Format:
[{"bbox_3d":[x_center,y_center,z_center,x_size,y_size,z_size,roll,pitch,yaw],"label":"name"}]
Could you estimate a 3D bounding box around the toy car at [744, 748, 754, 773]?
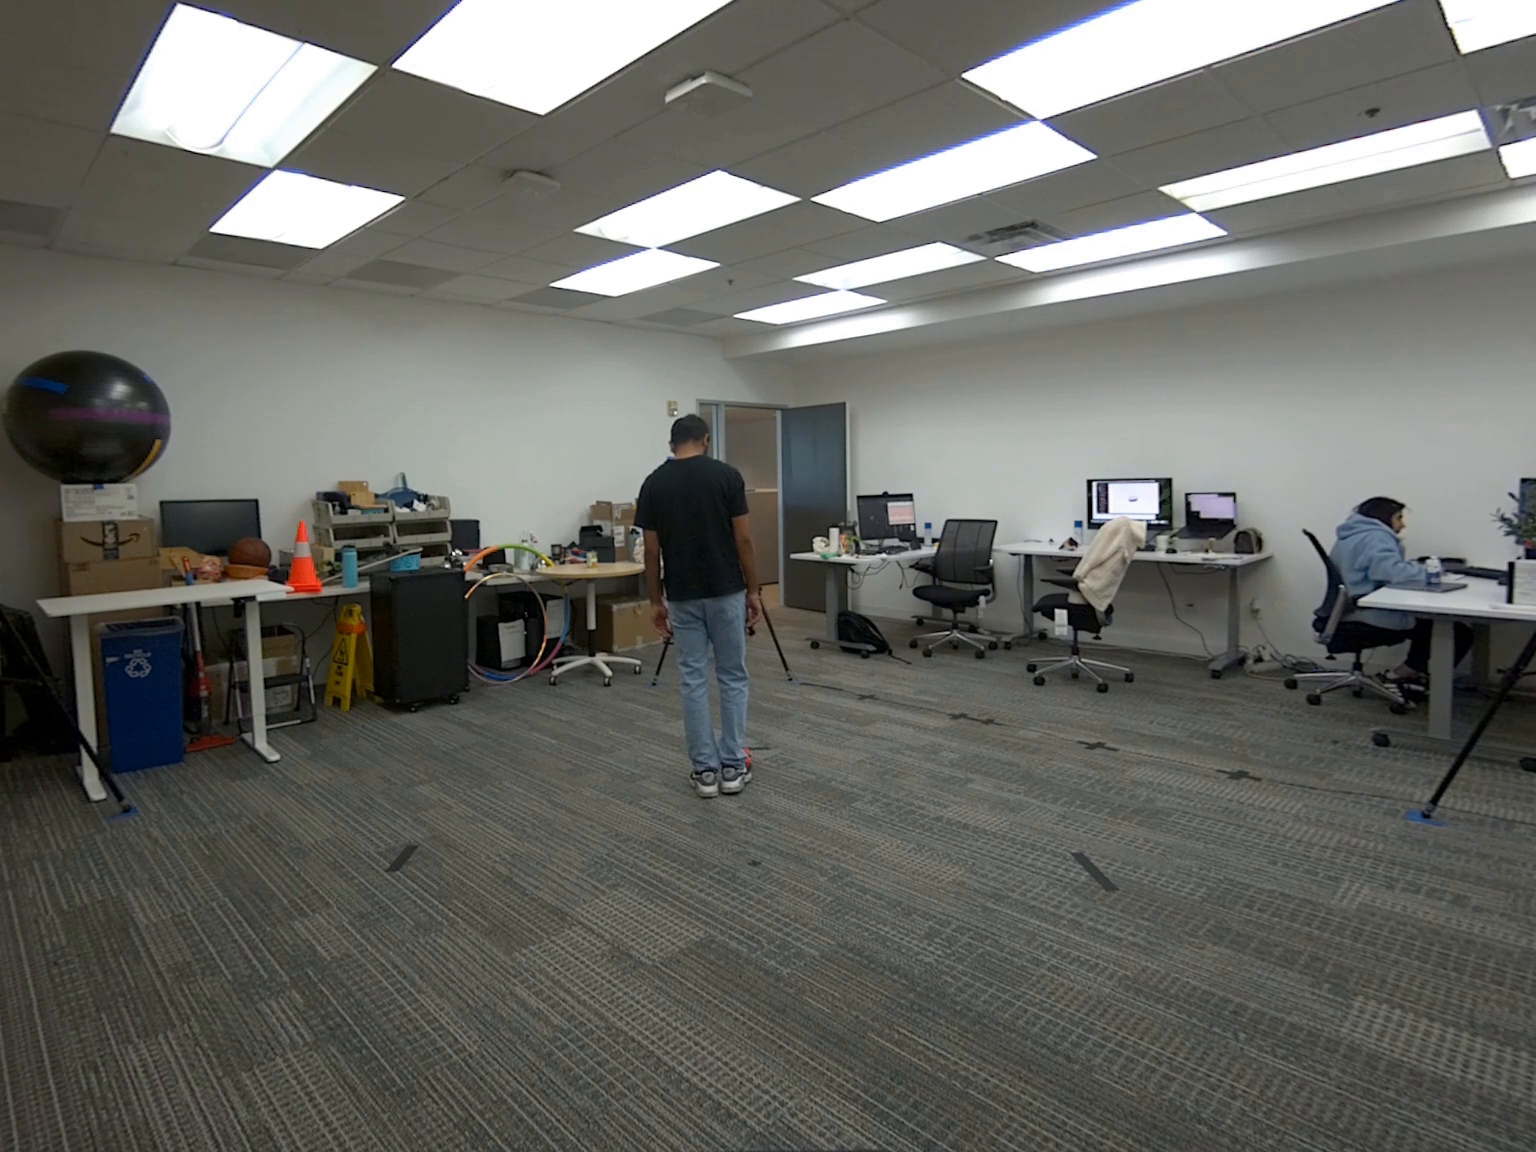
[{"bbox_3d":[-0.136,0.896,4.183,0.130,0.084,0.253,0,-6,-1],"label":"toy car"}]
